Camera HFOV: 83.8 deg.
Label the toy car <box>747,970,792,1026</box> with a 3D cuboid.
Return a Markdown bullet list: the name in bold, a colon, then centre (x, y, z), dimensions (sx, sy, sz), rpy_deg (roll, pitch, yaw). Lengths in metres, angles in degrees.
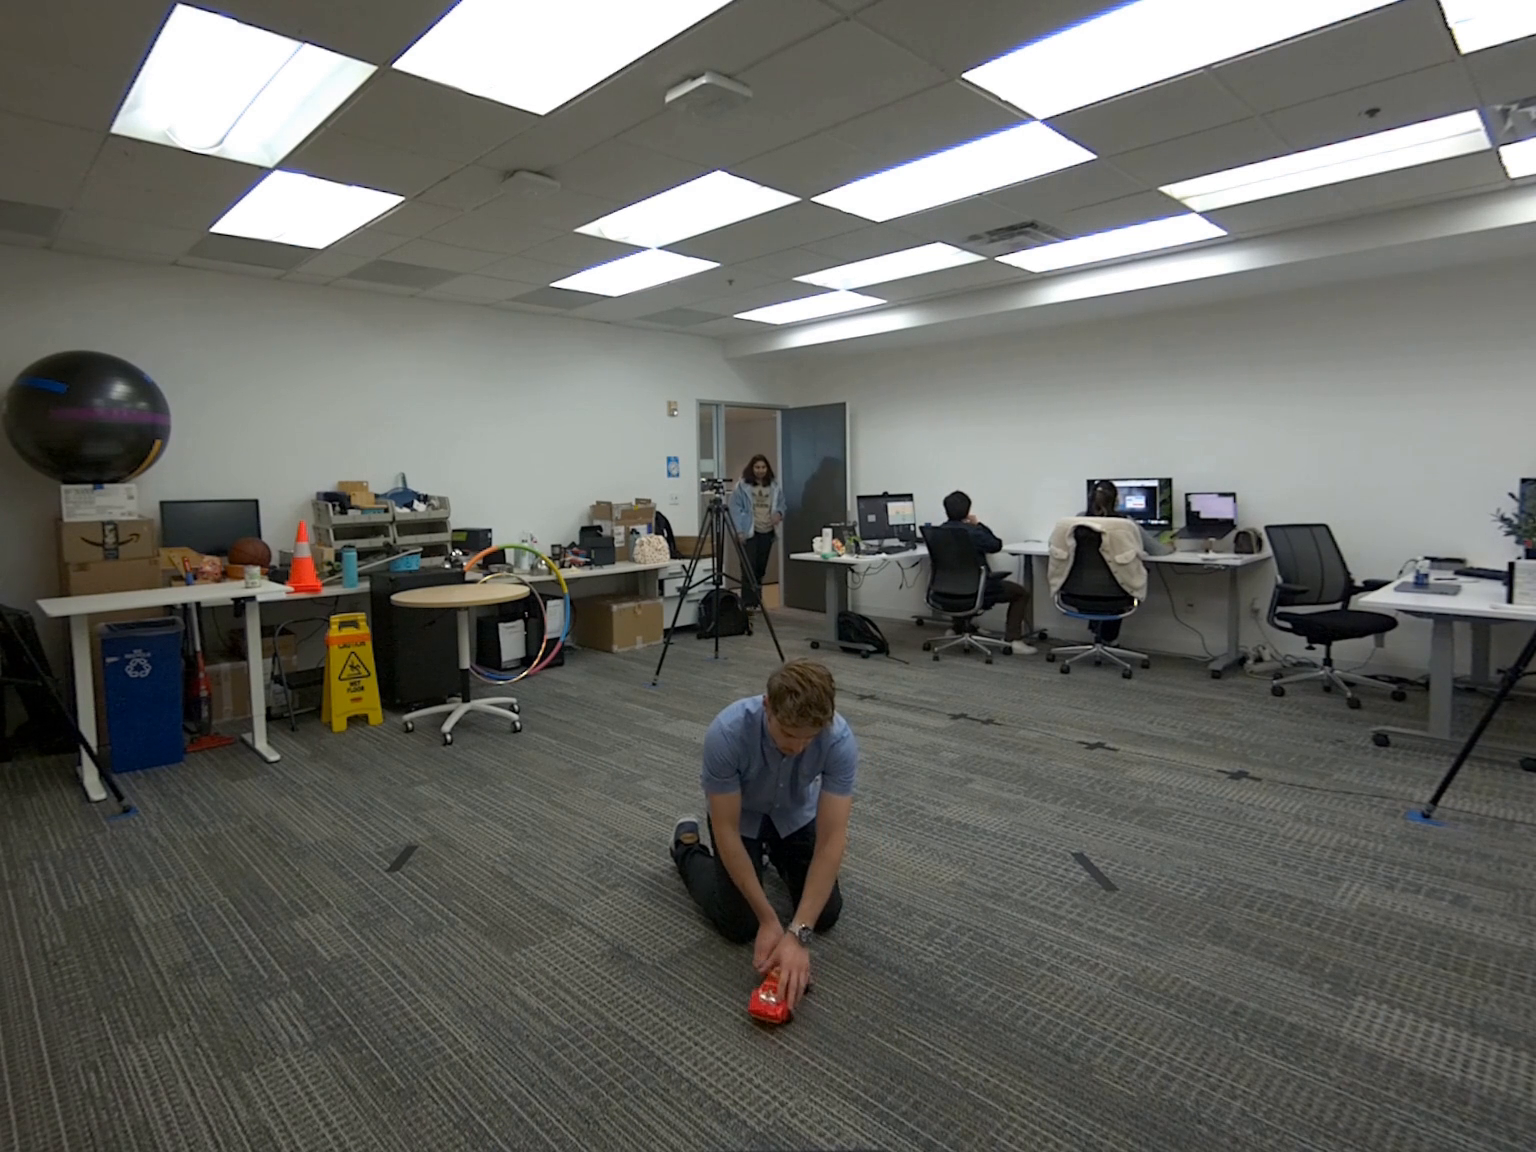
- **toy car**: centre (0.043, 1.118, 2.267), dimensions (0.133, 0.083, 0.248), rpy_deg (2, -5, 20)
